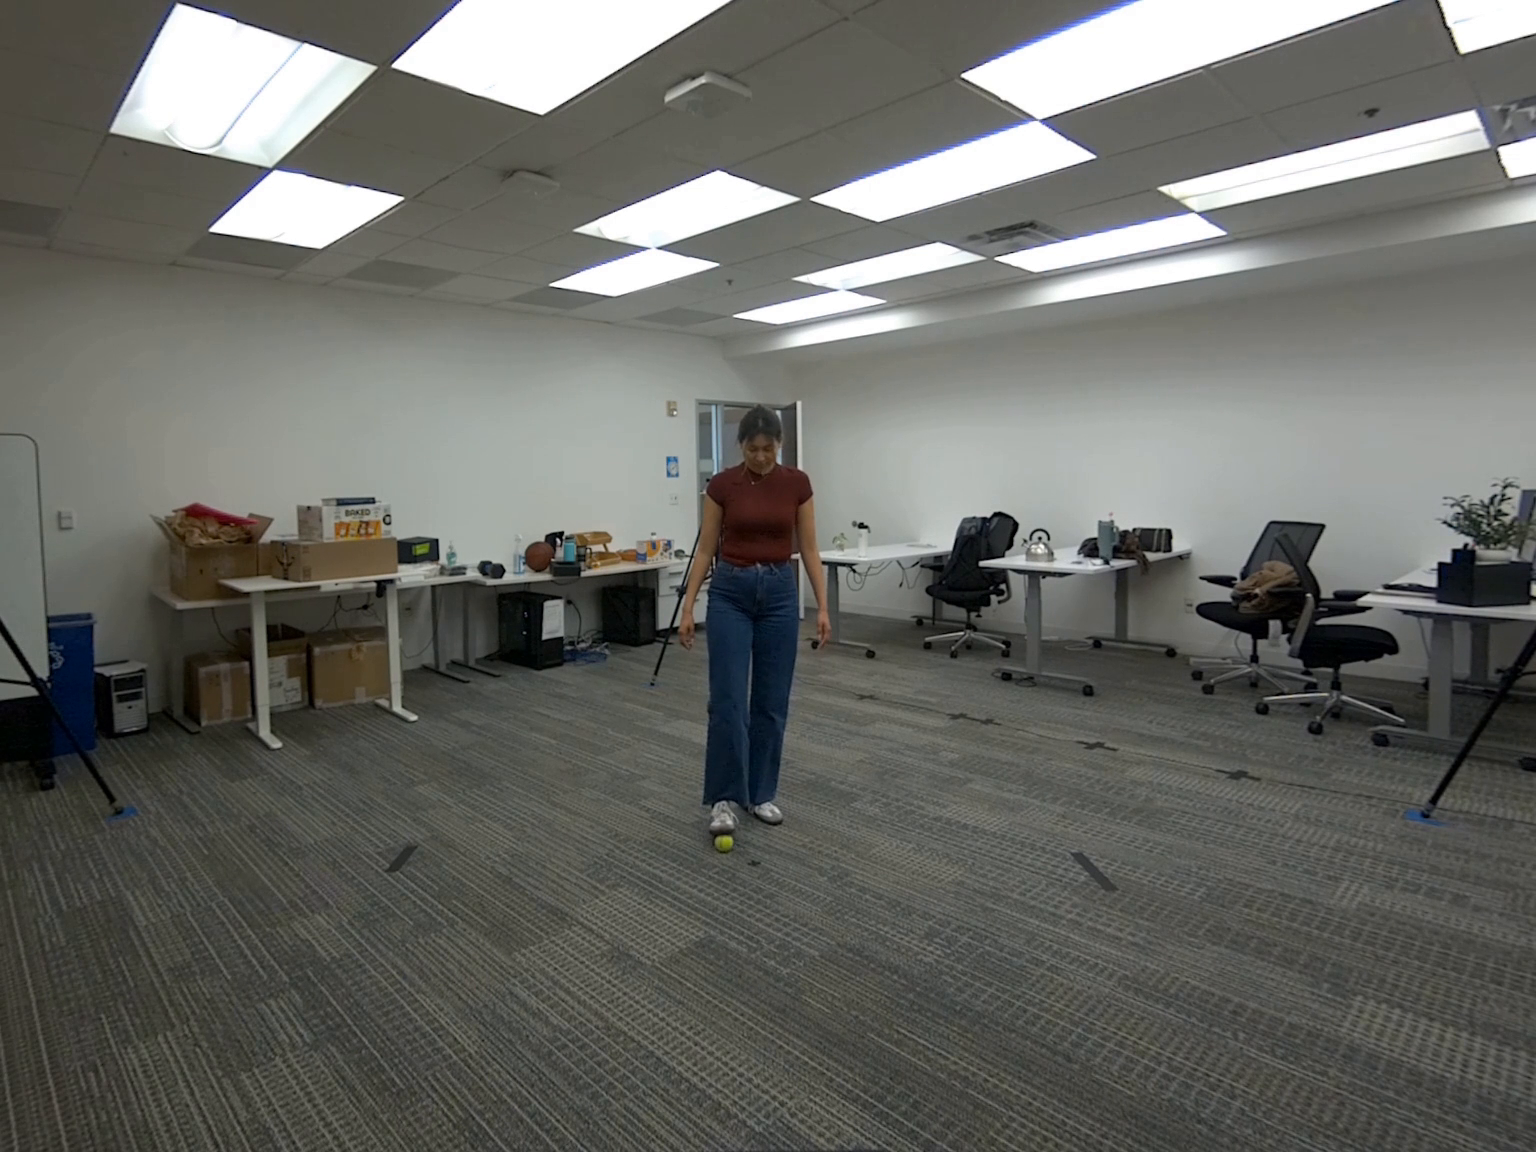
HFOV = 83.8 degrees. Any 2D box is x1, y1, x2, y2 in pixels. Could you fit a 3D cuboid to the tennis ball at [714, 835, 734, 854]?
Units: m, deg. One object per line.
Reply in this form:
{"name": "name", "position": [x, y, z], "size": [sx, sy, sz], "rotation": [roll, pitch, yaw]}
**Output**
{"name": "tennis ball", "position": [-0.176, 0.998, 3.194], "size": [0.066, 0.066, 0.067], "rotation": [-1, 5, -2]}
